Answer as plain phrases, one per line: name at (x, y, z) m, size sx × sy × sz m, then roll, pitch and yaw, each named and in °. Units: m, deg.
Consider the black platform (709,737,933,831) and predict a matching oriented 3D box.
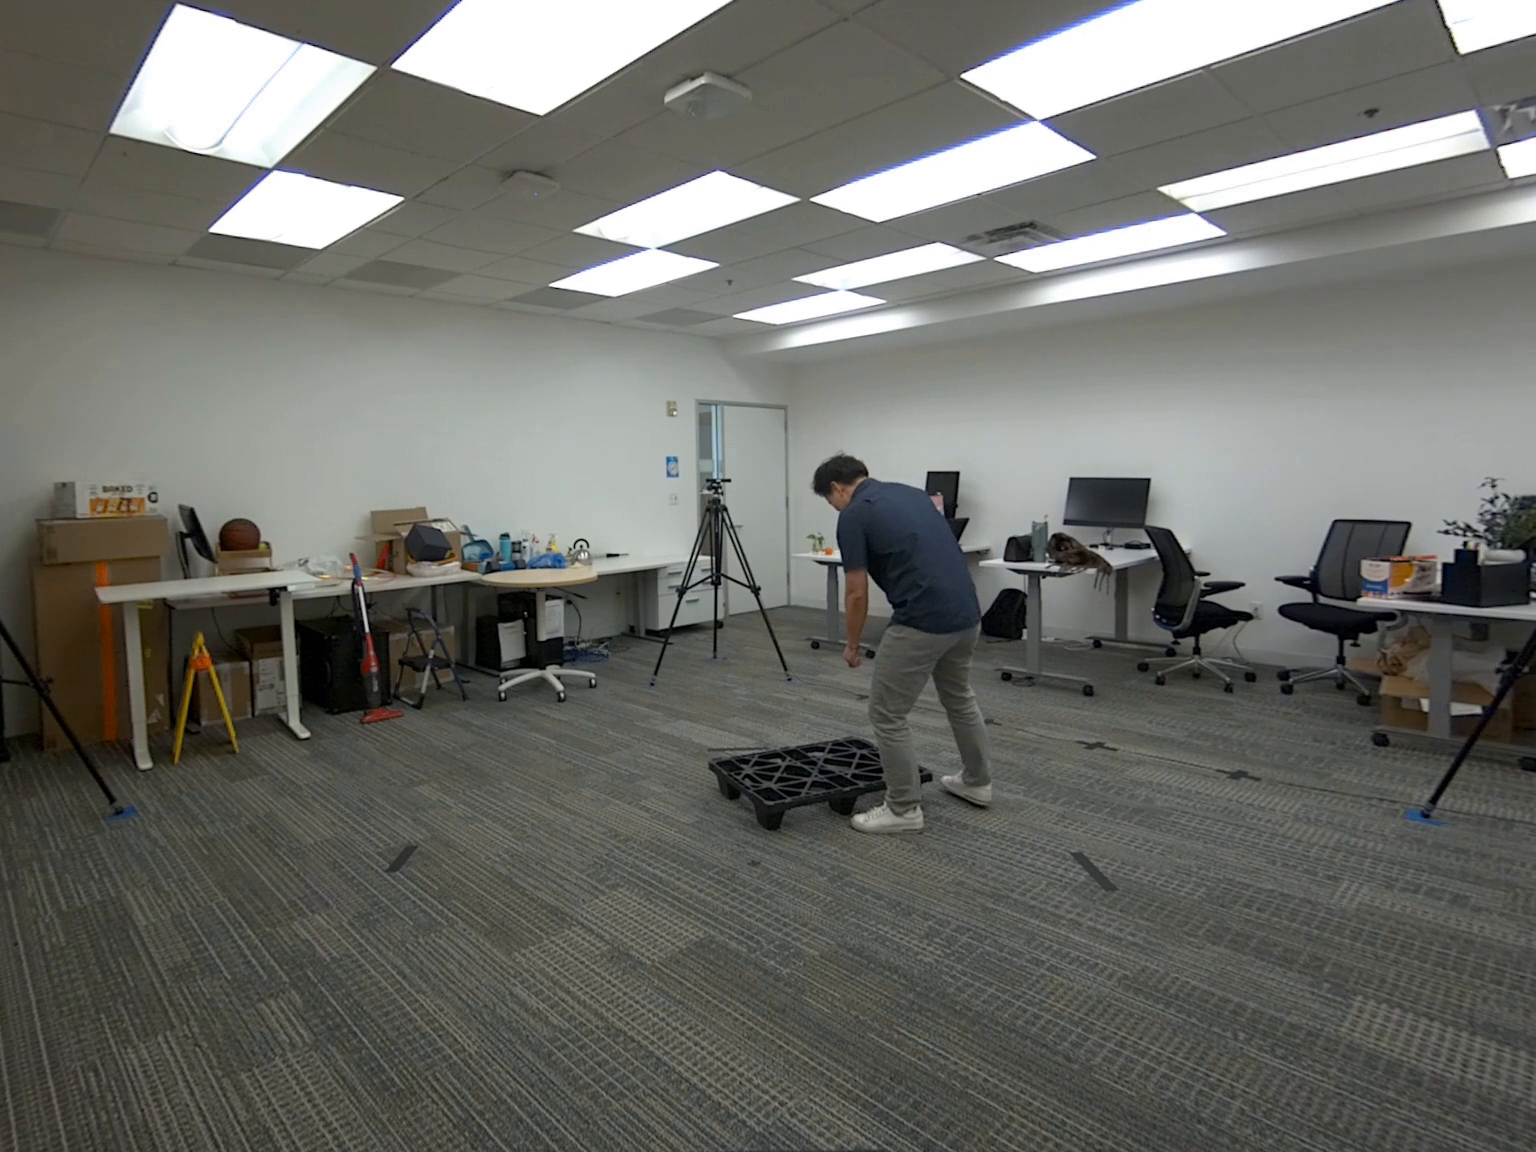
black platform at (0.213, 0.901, 3.750) m, size 0.788 × 0.143 × 0.620 m, roll -4°, pitch 6°, yaw -26°
